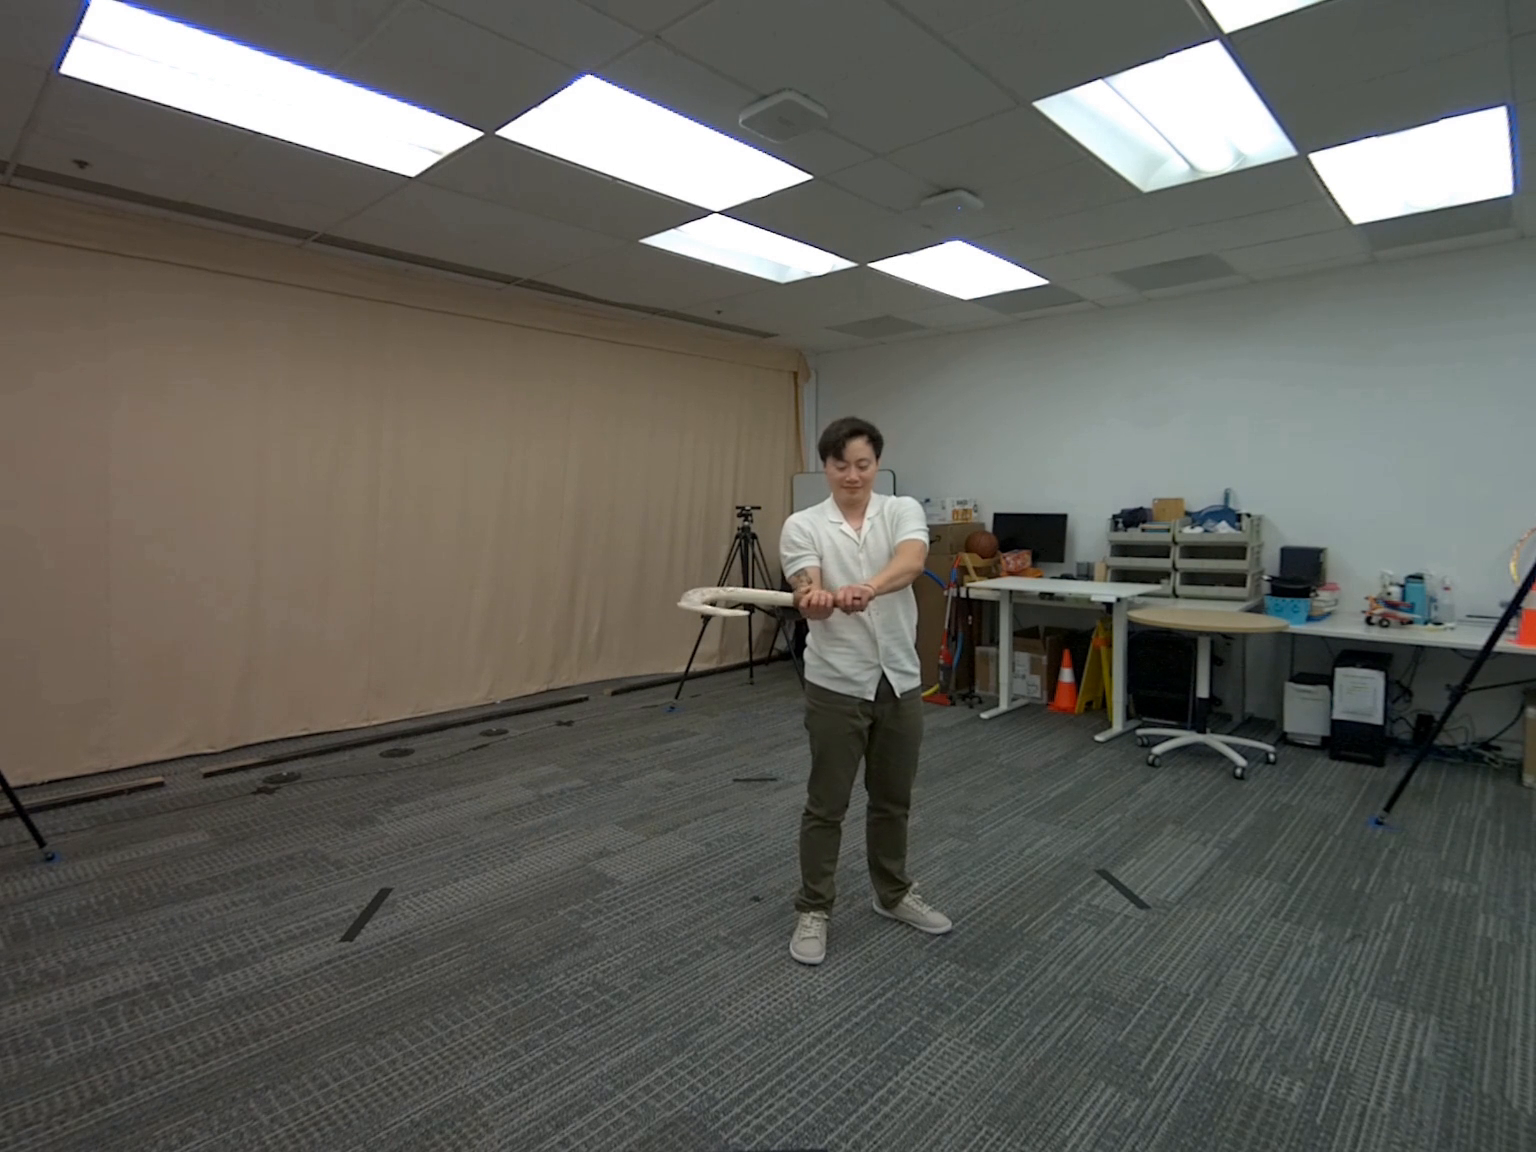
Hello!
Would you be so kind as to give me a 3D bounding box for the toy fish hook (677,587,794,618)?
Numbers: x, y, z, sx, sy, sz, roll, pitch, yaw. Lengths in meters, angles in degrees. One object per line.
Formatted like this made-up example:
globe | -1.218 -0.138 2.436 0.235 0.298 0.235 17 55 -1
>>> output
toy fish hook | 0.033 0.079 2.250 0.511 0.048 0.225 0 17 7
